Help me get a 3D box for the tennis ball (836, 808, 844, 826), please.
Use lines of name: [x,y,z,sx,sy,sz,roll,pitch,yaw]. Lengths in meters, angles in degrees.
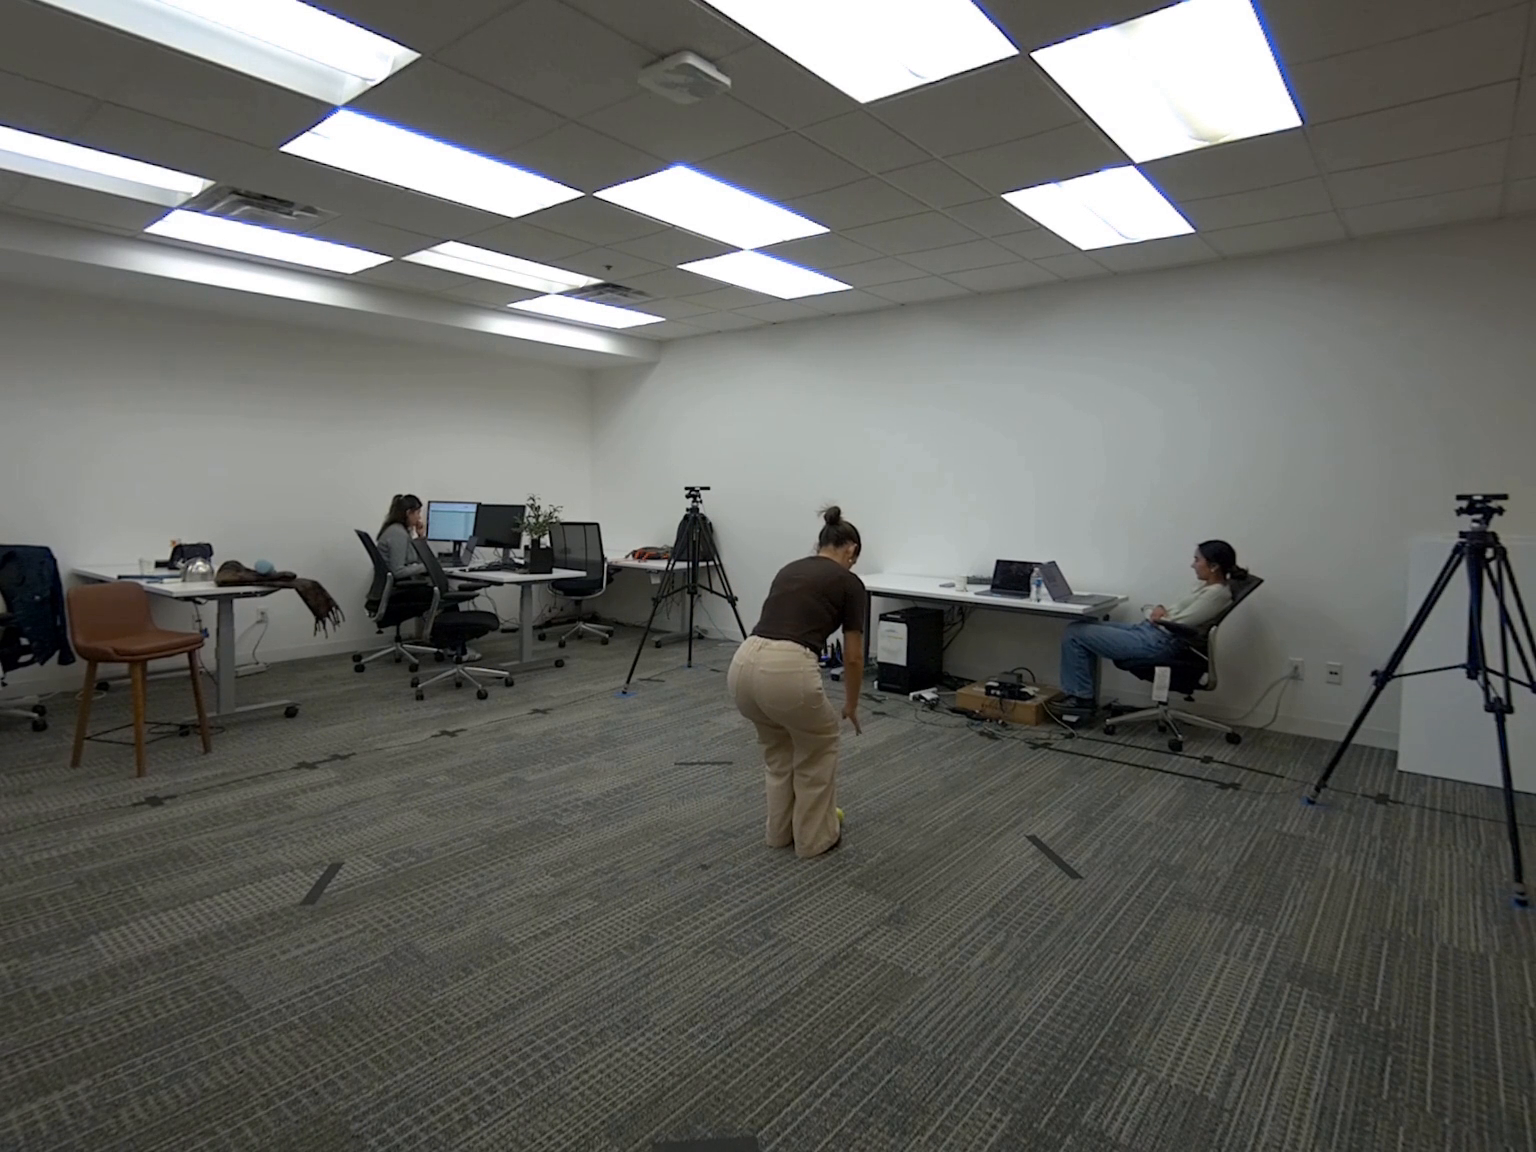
tennis ball: [0.265,0.986,3.534,0.066,0.066,0.067,1,4,-2]
